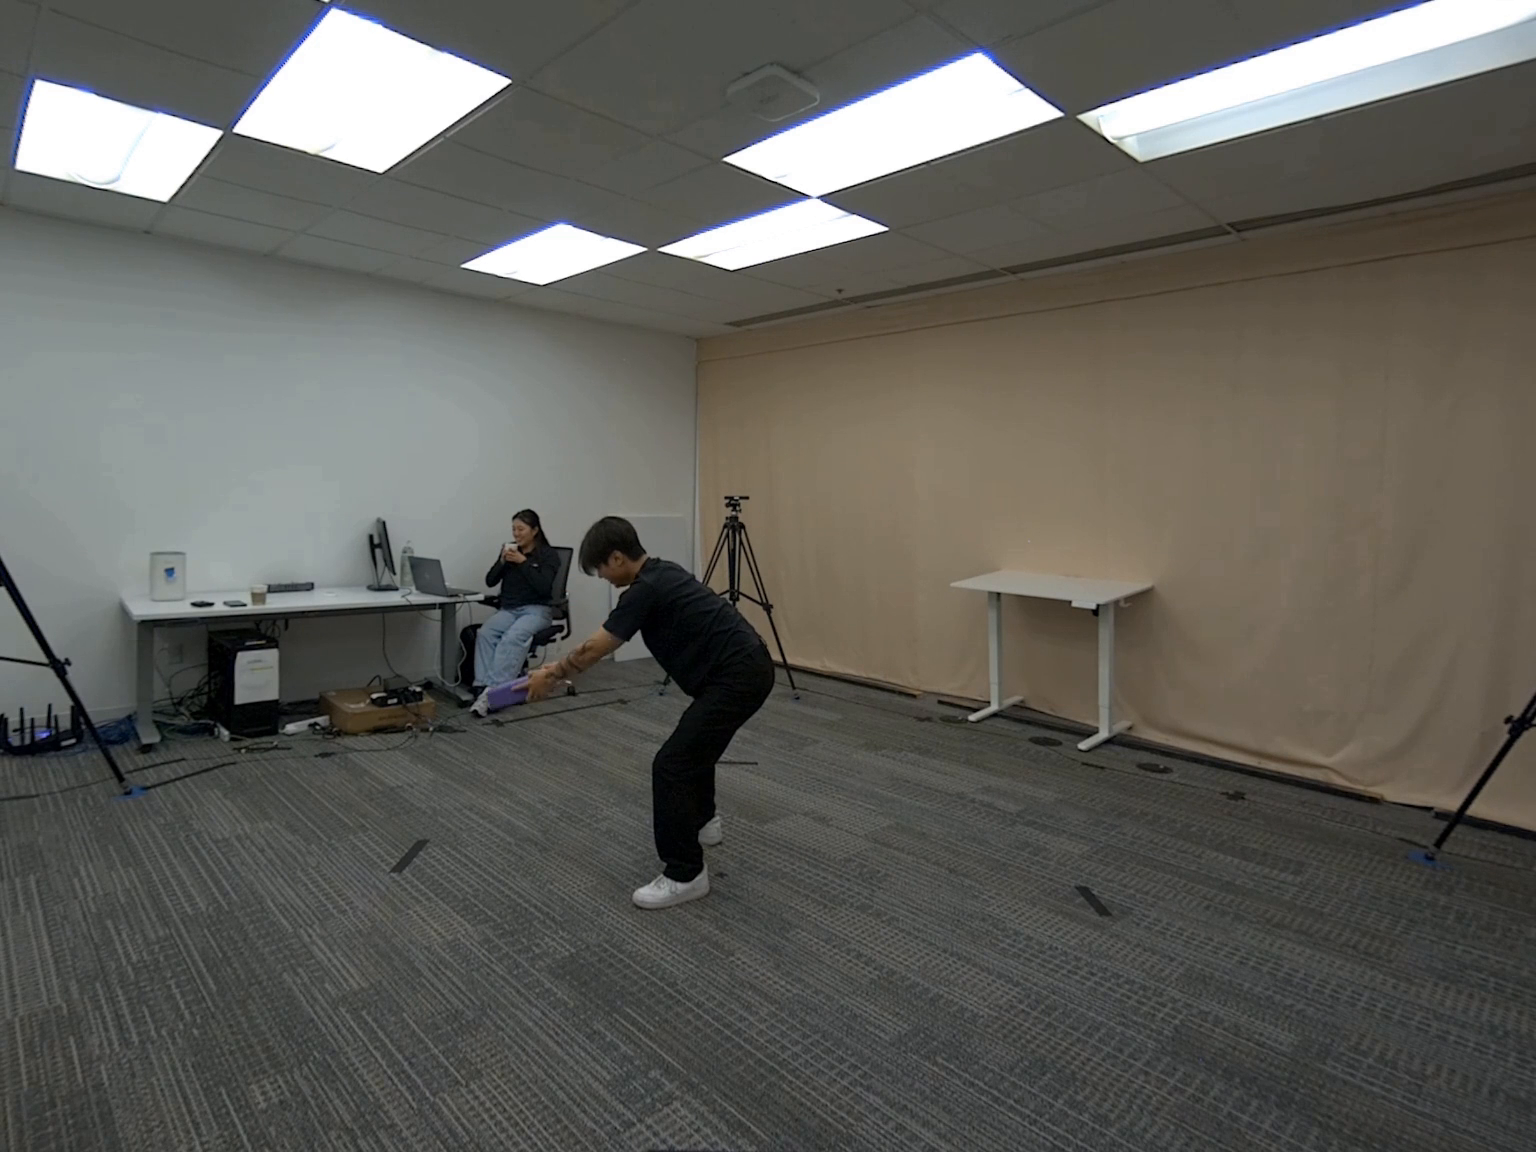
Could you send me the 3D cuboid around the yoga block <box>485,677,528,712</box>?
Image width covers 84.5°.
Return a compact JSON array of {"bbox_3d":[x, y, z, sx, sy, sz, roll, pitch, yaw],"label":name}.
[{"bbox_3d":[-0.942,0.428,3.228,0.230,0.076,0.148,-17,3,9],"label":"yoga block"}]
